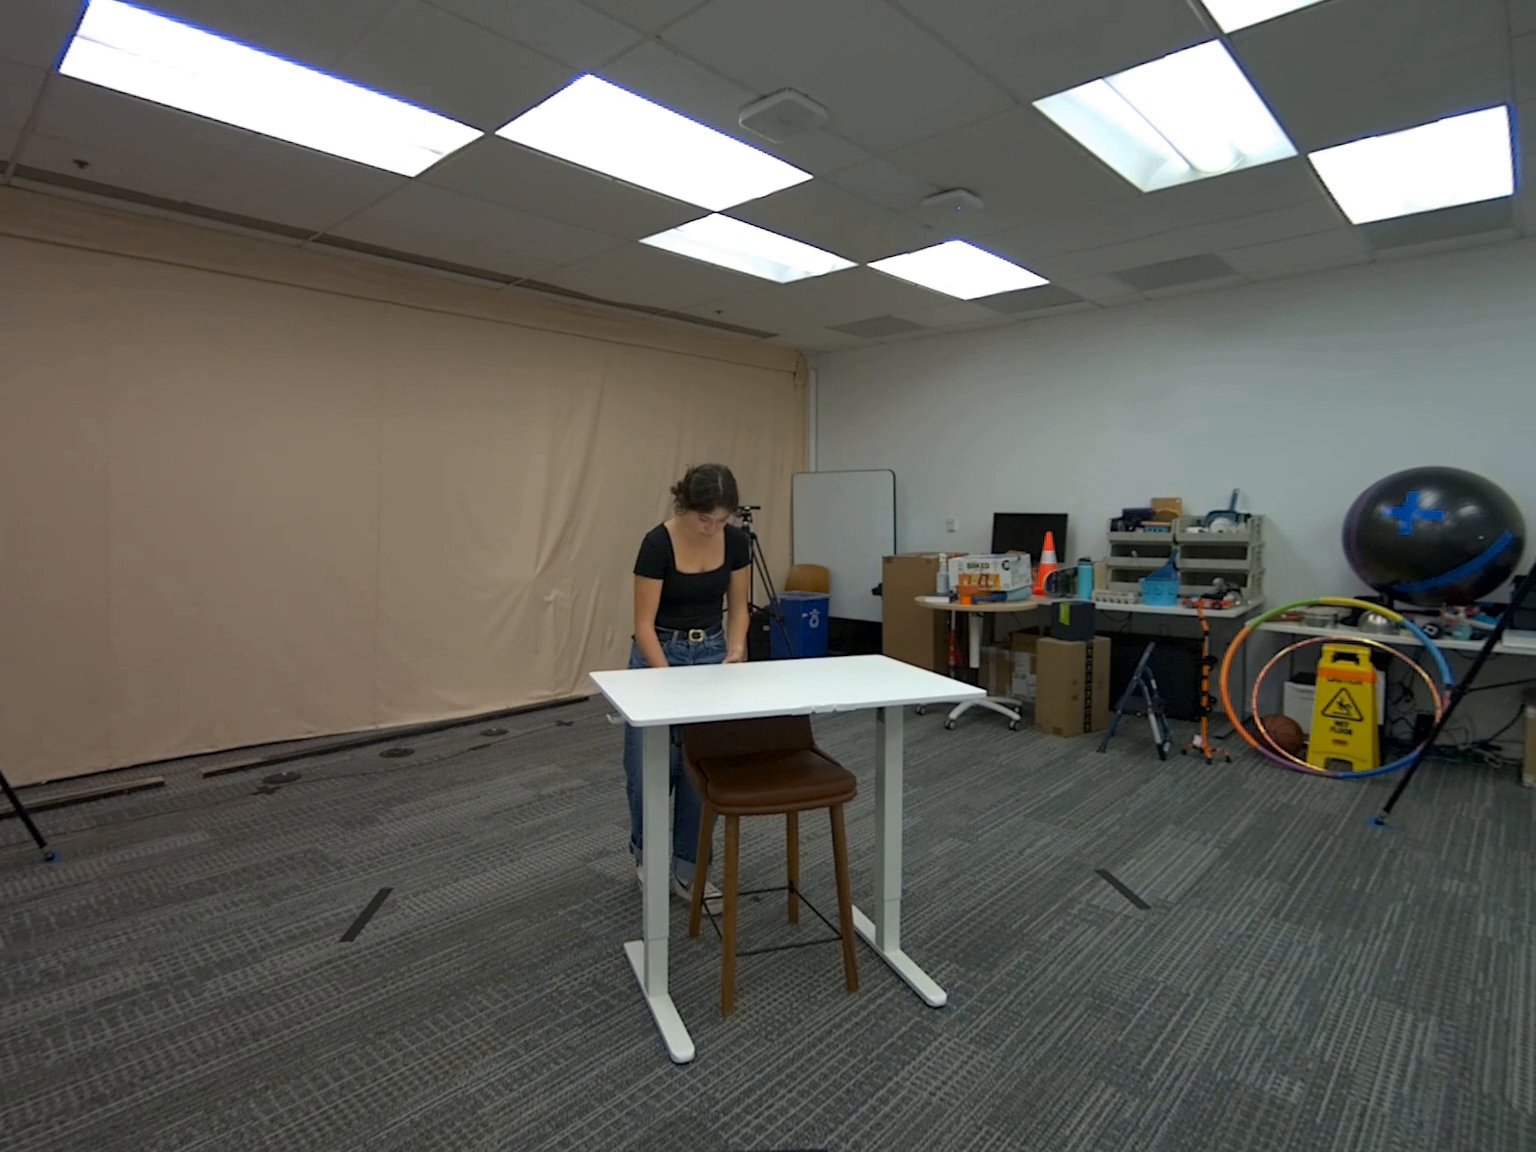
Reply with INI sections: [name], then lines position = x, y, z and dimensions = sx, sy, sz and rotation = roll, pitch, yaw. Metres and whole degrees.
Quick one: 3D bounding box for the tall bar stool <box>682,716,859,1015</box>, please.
[tall bar stool]
position = -0.002, 0.750, 2.553
dimensions = 0.448, 0.889, 0.476
rotation = -1, 2, -18
